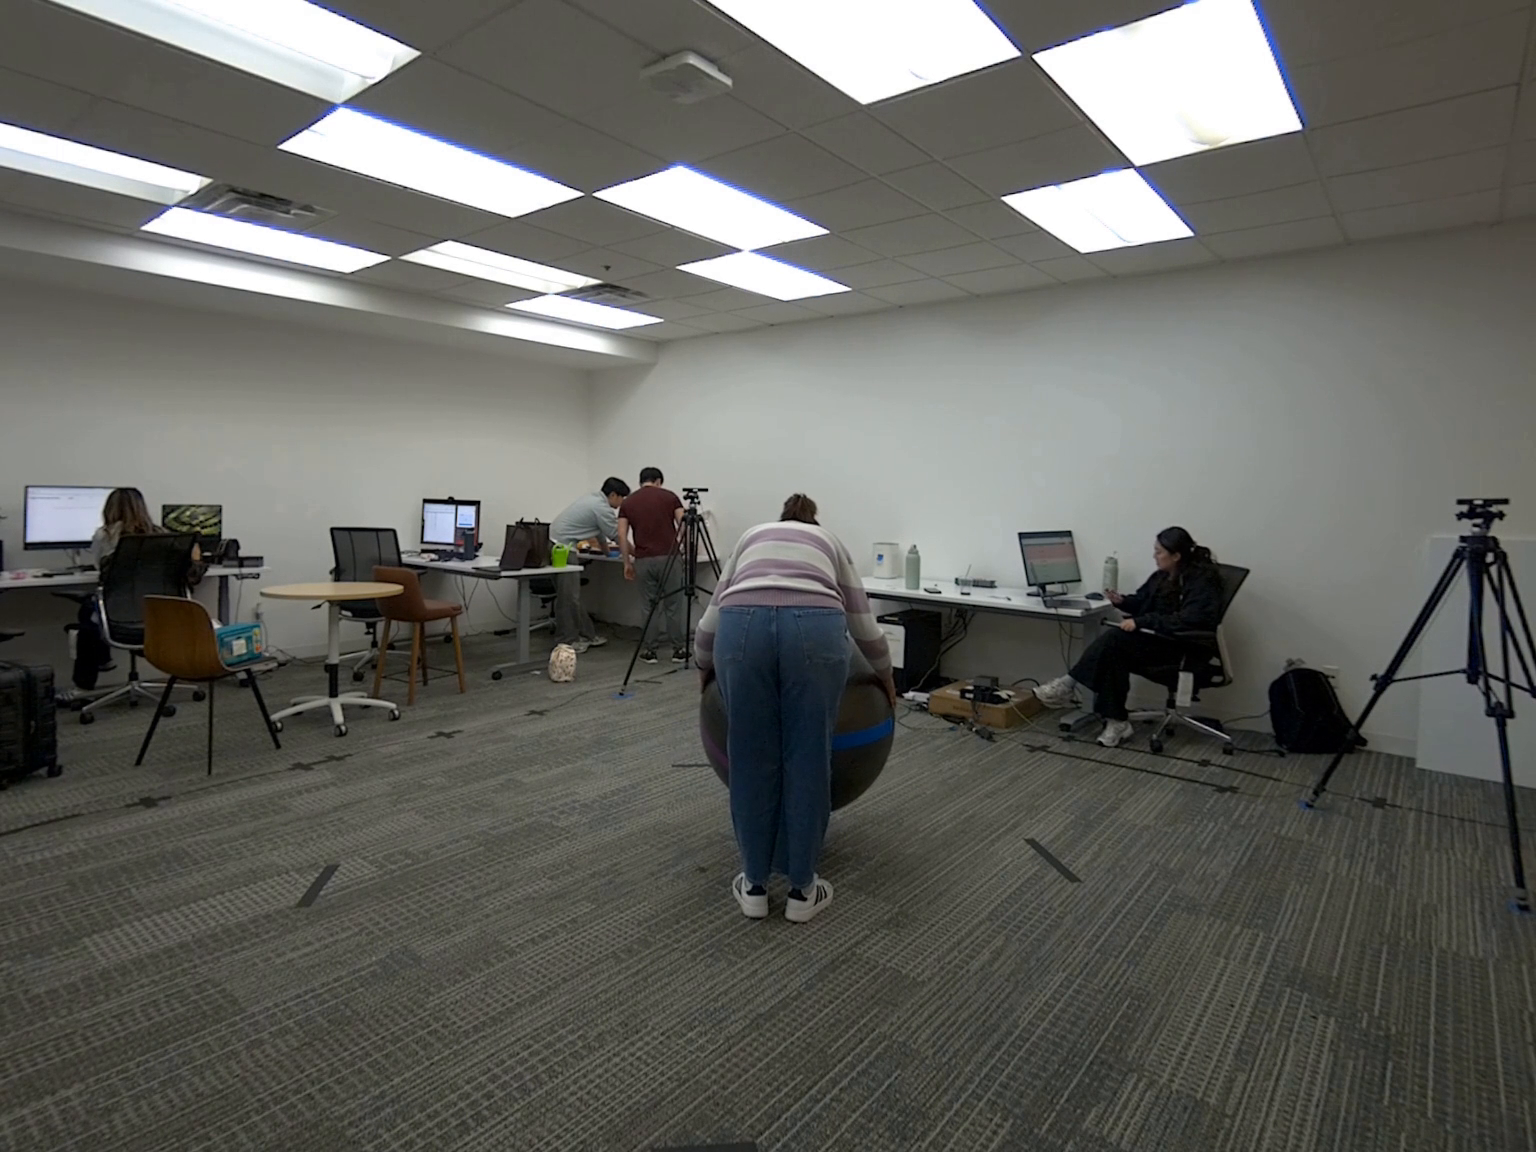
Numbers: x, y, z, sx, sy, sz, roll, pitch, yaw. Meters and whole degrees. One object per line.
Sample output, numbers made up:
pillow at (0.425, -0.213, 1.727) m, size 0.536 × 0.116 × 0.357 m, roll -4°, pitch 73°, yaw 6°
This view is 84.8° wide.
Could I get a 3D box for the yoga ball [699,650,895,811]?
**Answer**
yoga ball at (0.113, 0.551, 3.316) m, size 0.757 × 0.755 × 0.762 m, roll 1°, pitch 4°, yaw -2°
